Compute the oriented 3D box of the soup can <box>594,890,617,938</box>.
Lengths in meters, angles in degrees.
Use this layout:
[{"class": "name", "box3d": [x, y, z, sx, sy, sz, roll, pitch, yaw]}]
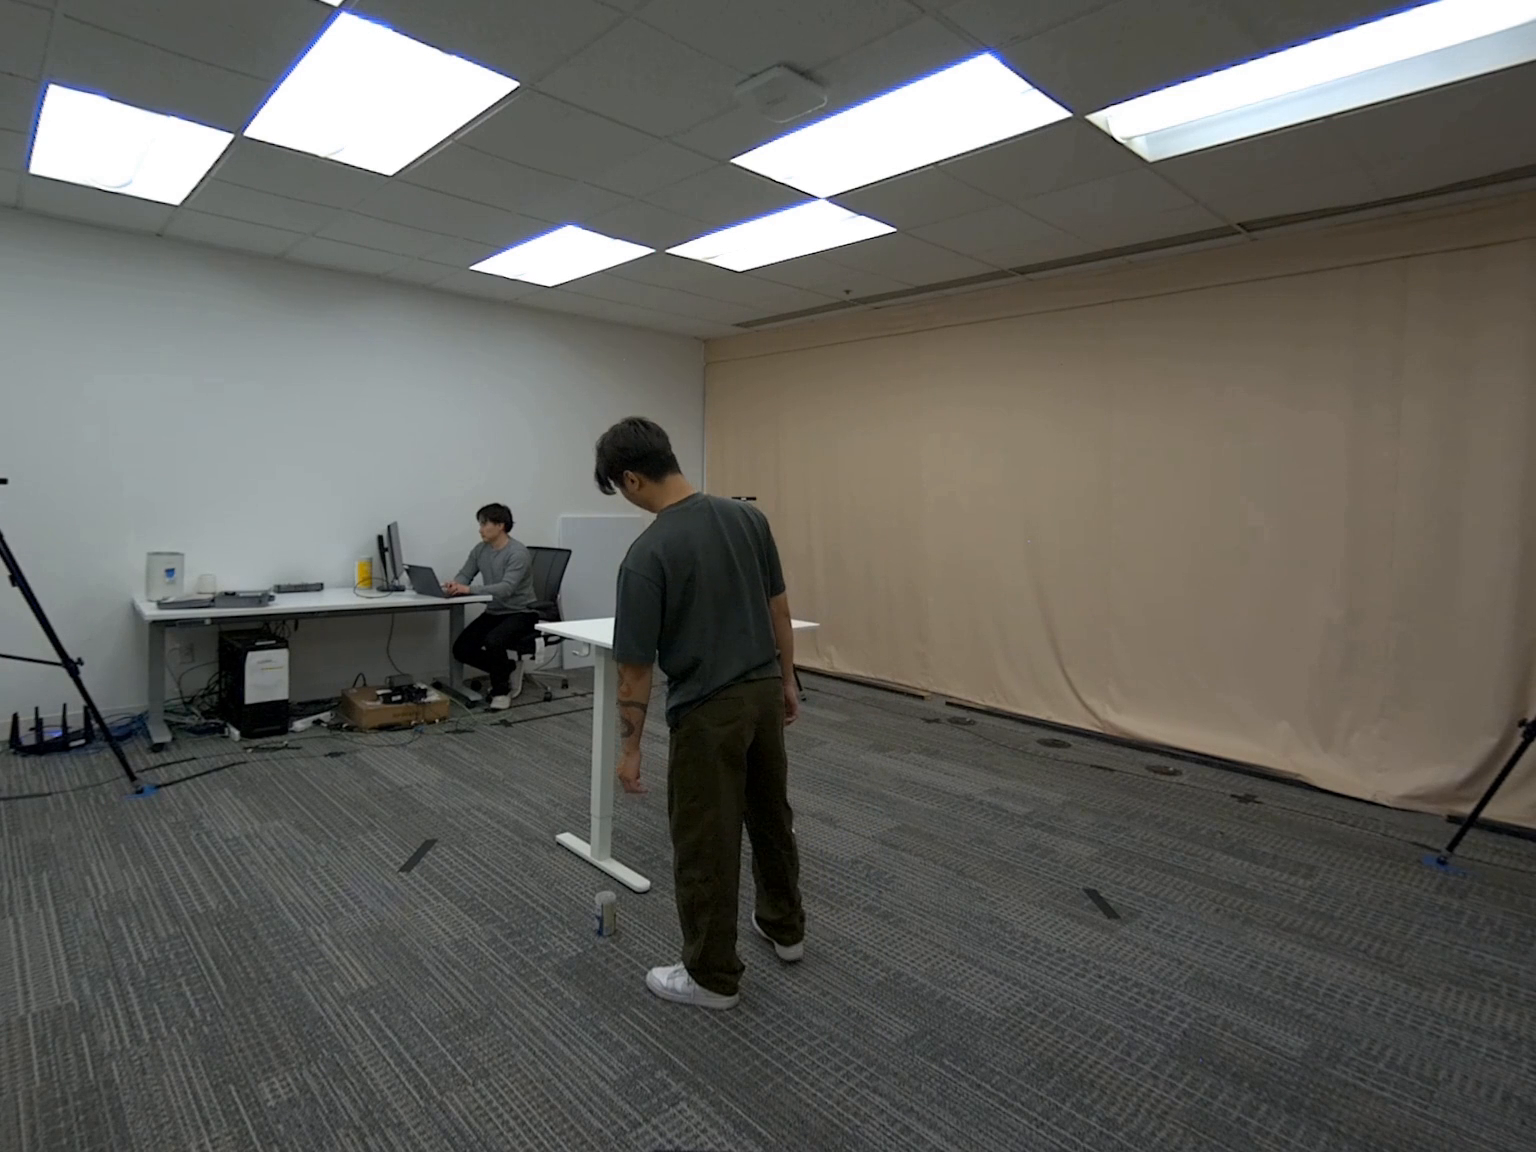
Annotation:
[{"class": "soup can", "box3d": [-0.526, 1.078, 2.677, 0.067, 0.121, 0.067, -1, 4, -1]}]
